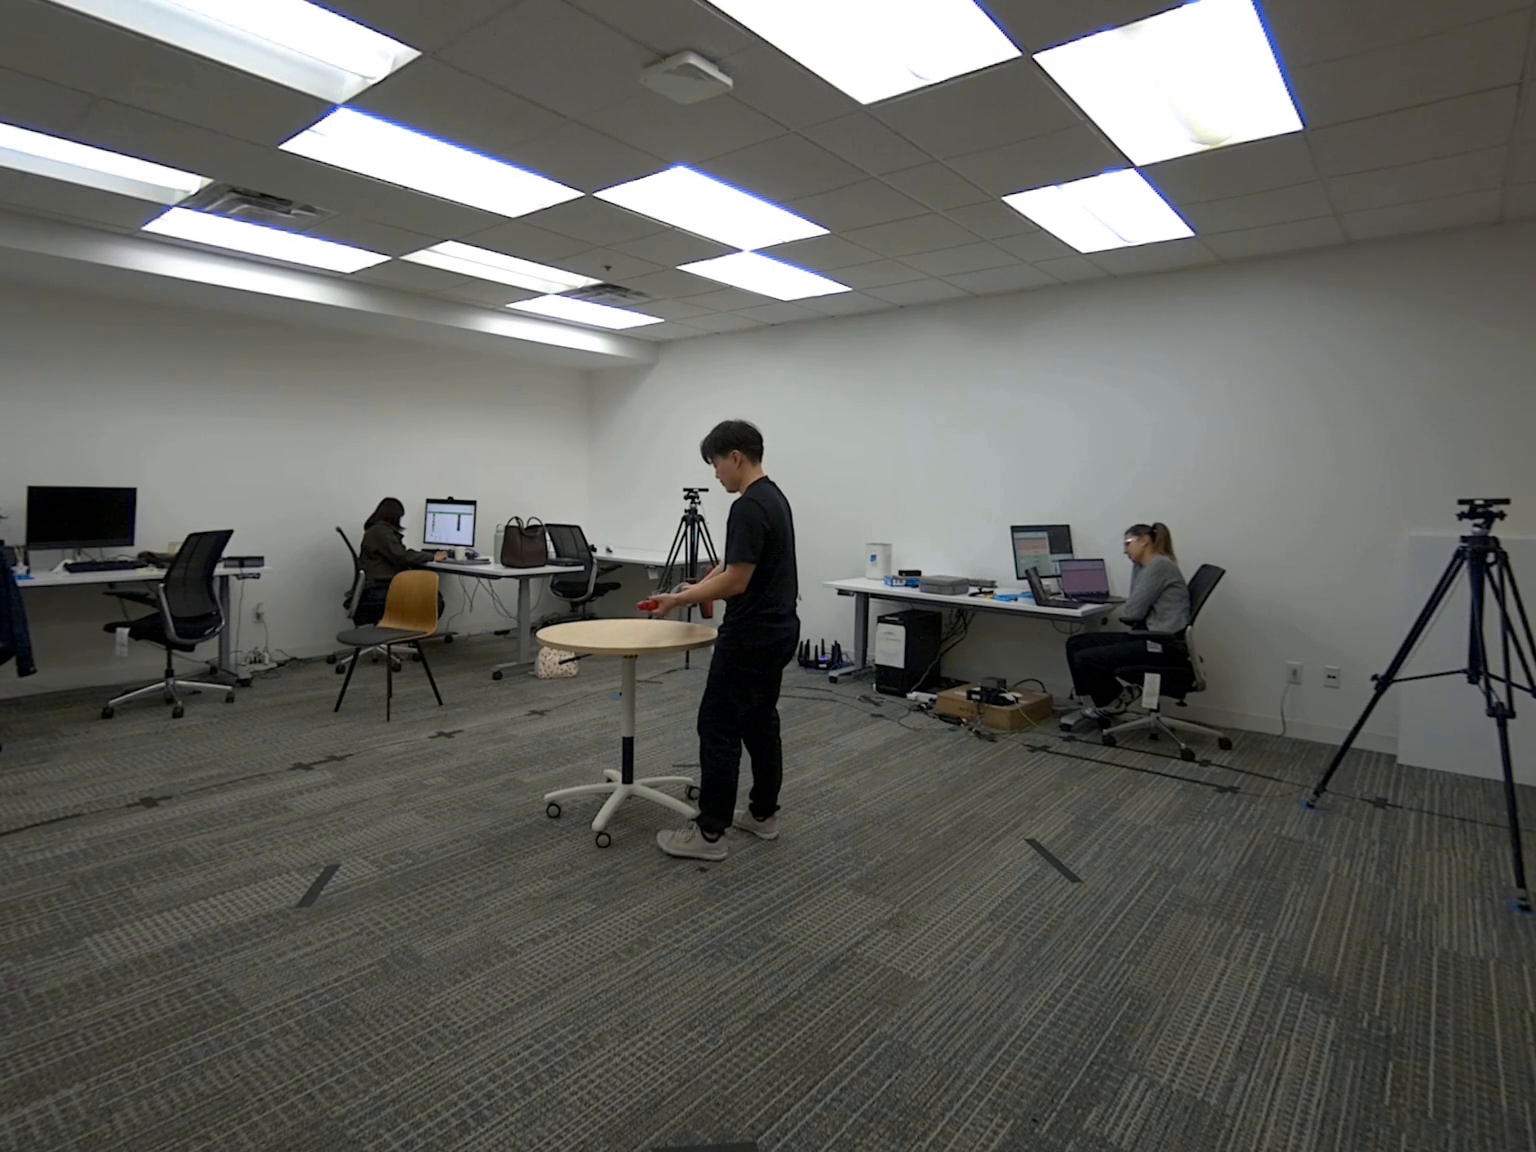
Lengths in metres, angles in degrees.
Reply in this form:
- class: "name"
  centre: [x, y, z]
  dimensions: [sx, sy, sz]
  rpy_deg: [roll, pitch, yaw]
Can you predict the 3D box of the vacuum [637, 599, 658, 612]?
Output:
- class: "vacuum"
  centre: [-0.377, 0.094, 3.500]
  dimensions: [0.145, 0.252, 1.041]
  rpy_deg: [0, 3, 6]
